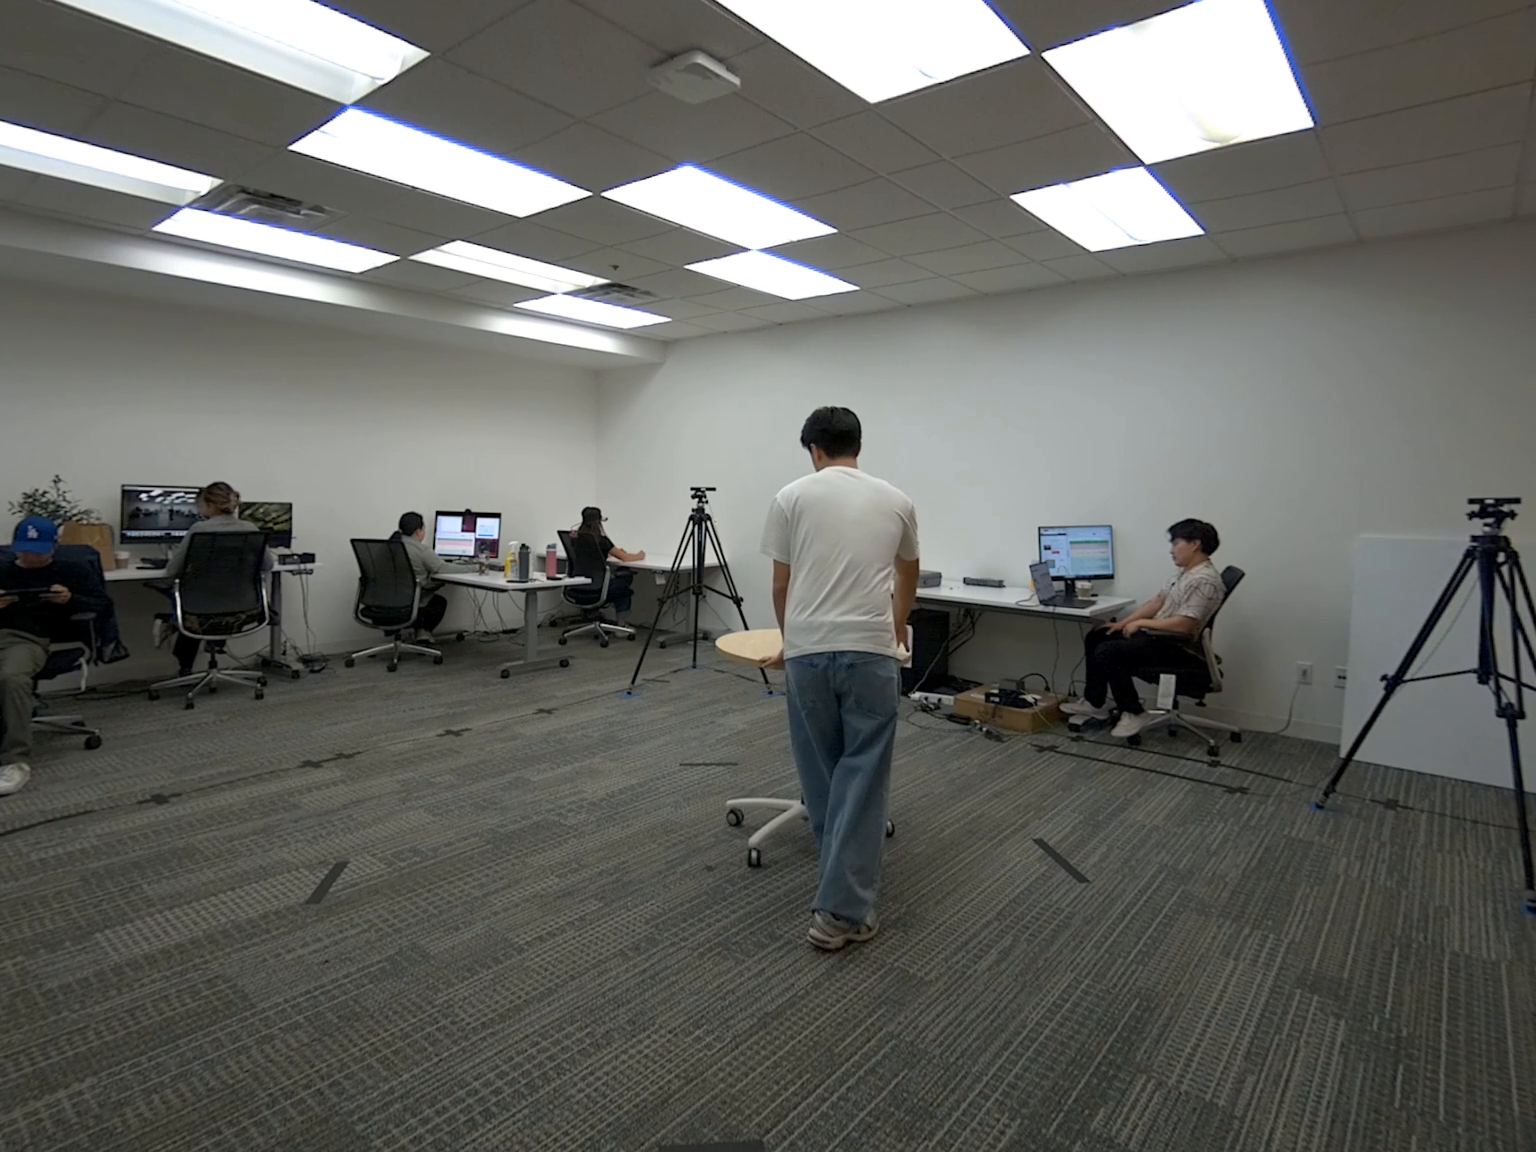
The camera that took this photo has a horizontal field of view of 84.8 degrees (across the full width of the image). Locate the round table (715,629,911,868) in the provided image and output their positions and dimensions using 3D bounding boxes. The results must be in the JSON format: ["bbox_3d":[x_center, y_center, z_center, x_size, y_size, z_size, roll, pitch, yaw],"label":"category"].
[{"bbox_3d":[0.158,0.658,3.379,0.763,0.791,0.768,1,4,-2],"label":"round table"}]
